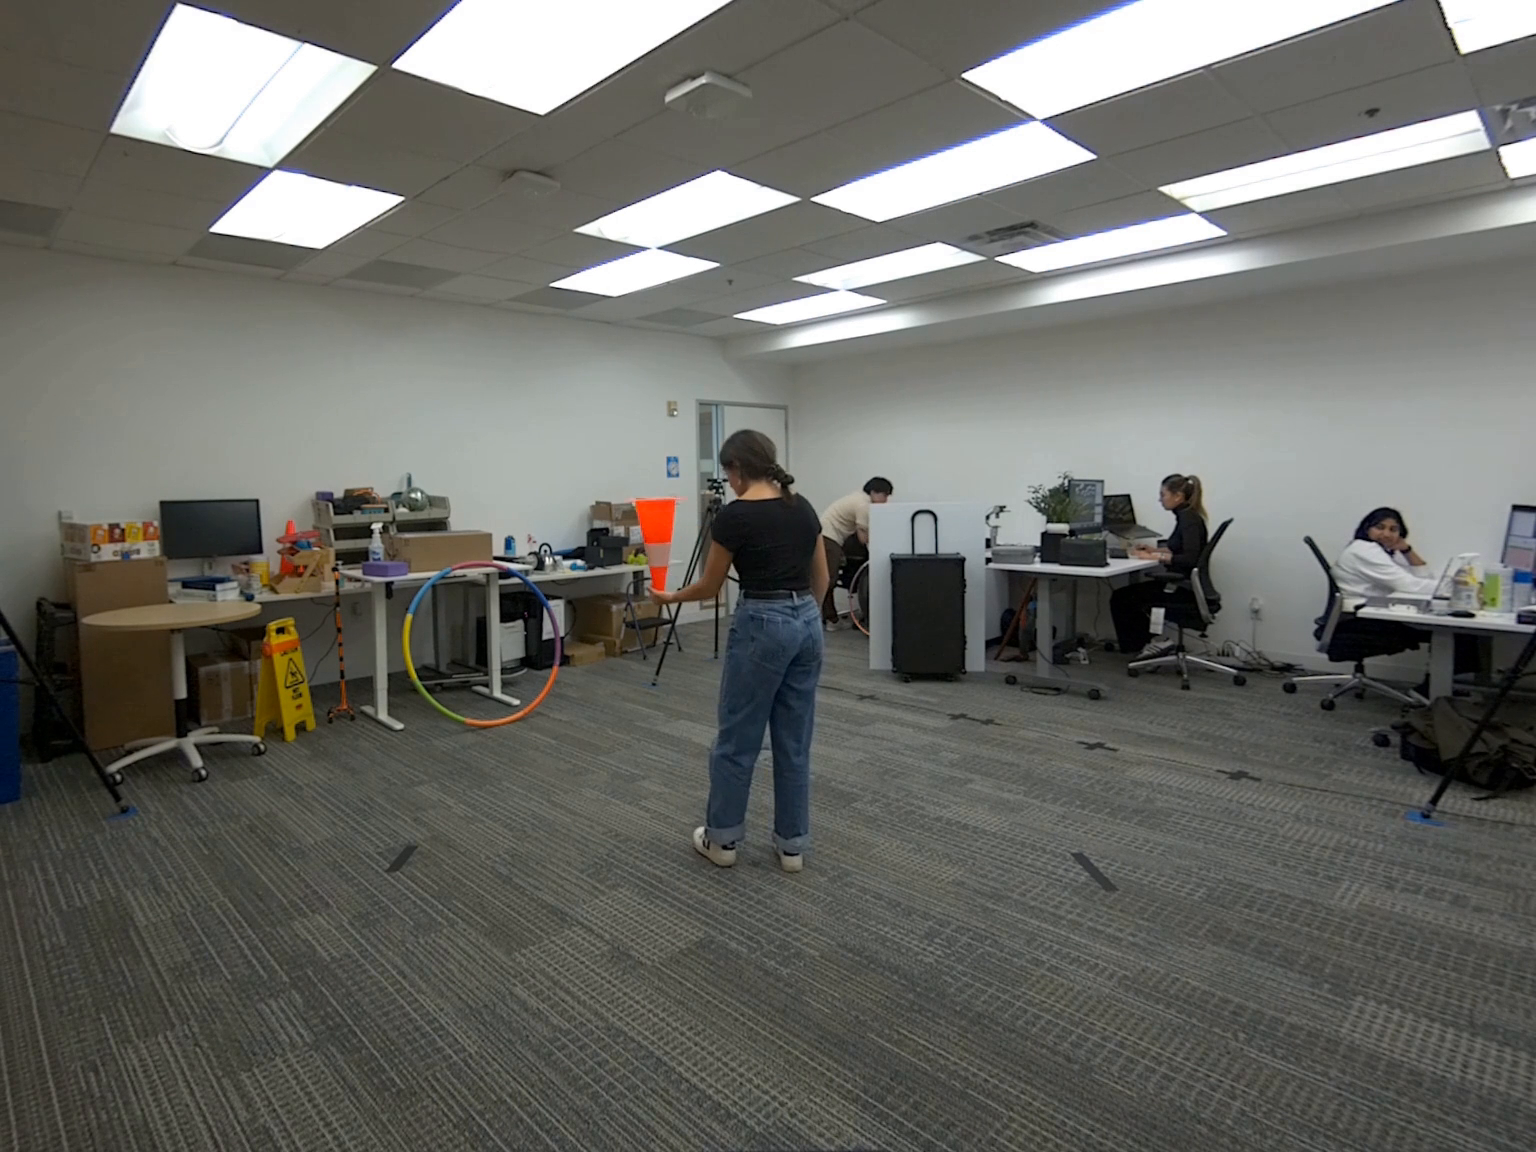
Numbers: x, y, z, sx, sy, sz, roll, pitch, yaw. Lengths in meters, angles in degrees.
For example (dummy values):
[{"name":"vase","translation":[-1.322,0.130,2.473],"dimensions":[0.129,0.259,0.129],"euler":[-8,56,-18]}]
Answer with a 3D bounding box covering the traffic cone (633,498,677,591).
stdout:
[{"name":"traffic cone","translation":[-0.417,-0.100,3.286],"dimensions":[0.208,0.382,0.201],"euler":[3,5,25]}]
